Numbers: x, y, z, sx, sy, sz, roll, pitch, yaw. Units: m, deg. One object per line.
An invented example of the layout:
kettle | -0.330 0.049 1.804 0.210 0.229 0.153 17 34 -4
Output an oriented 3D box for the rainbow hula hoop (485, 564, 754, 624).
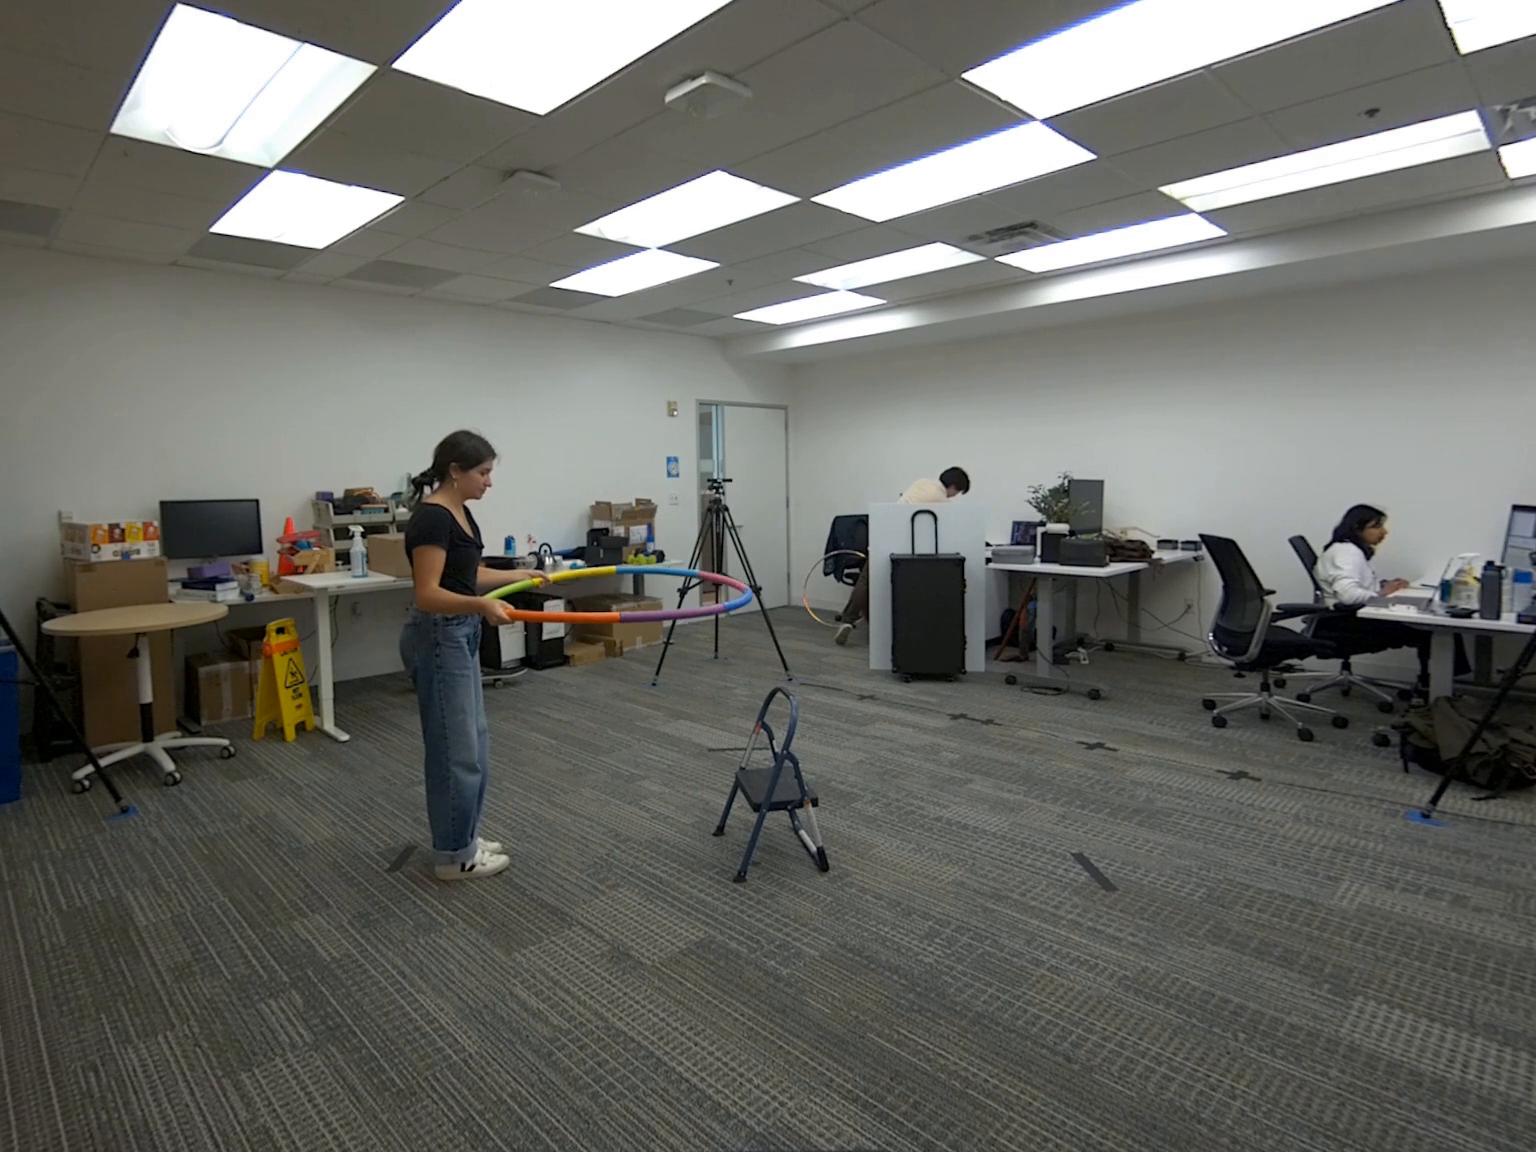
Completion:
rainbow hula hoop | -0.563 0.057 3.106 0.978 0.035 0.987 -1 9 -2
